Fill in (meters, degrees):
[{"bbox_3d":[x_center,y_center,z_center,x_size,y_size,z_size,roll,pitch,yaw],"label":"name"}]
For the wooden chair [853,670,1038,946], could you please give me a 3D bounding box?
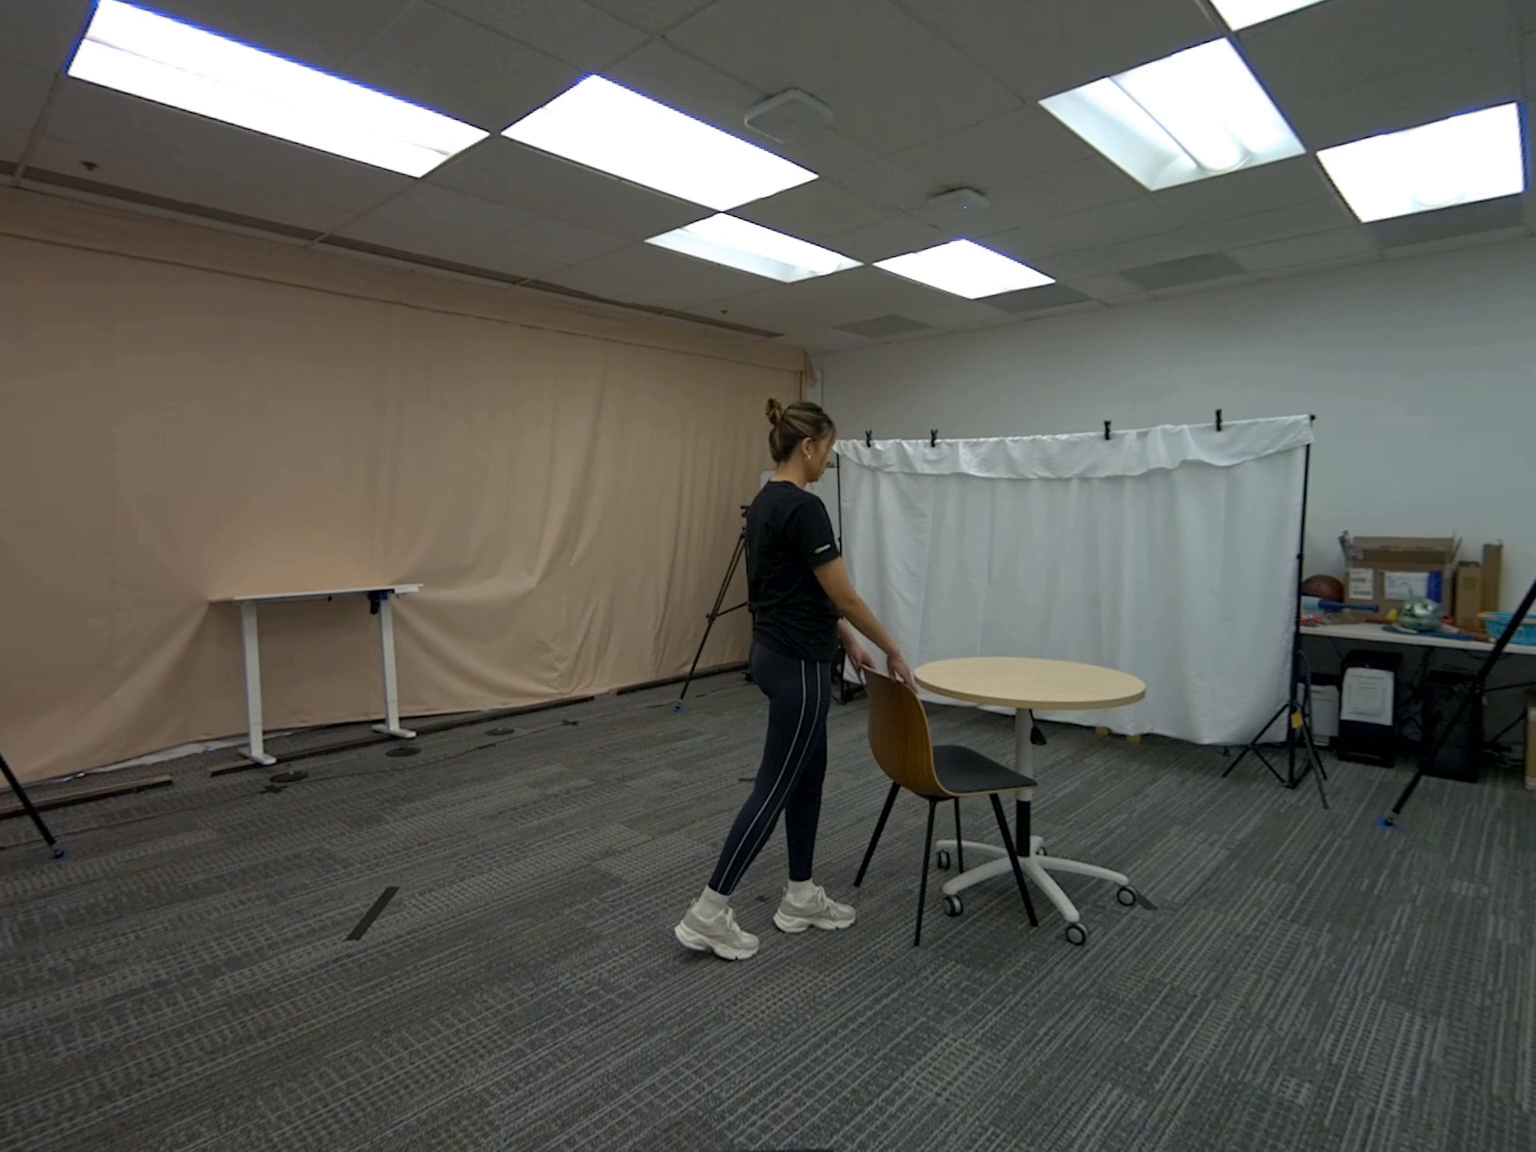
[{"bbox_3d":[0.613,0.722,2.902,0.514,0.875,0.488,-5,5,-19],"label":"wooden chair"}]
